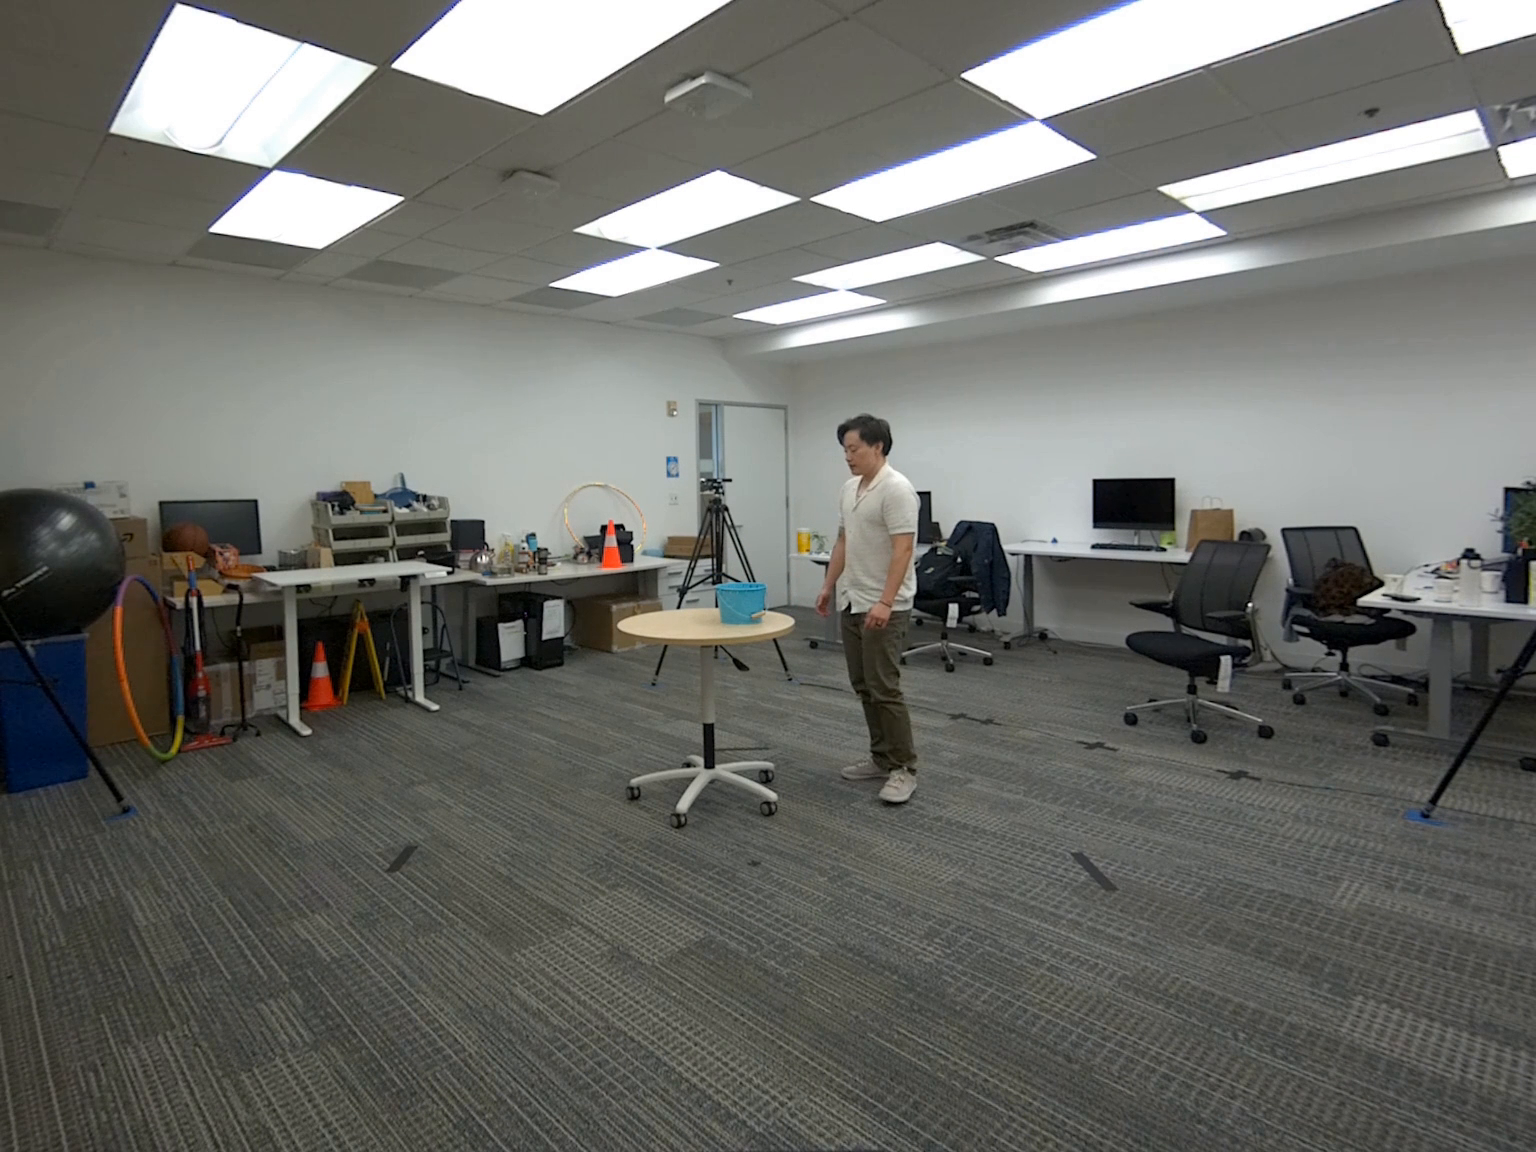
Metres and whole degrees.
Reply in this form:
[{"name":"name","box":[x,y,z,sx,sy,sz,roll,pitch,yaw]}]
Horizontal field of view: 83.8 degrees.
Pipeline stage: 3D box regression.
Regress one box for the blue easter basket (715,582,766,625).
[{"name":"blue easter basket","box":[-0.116,0.121,3.696,0.243,0.155,0.245,-1,6,-2]}]
